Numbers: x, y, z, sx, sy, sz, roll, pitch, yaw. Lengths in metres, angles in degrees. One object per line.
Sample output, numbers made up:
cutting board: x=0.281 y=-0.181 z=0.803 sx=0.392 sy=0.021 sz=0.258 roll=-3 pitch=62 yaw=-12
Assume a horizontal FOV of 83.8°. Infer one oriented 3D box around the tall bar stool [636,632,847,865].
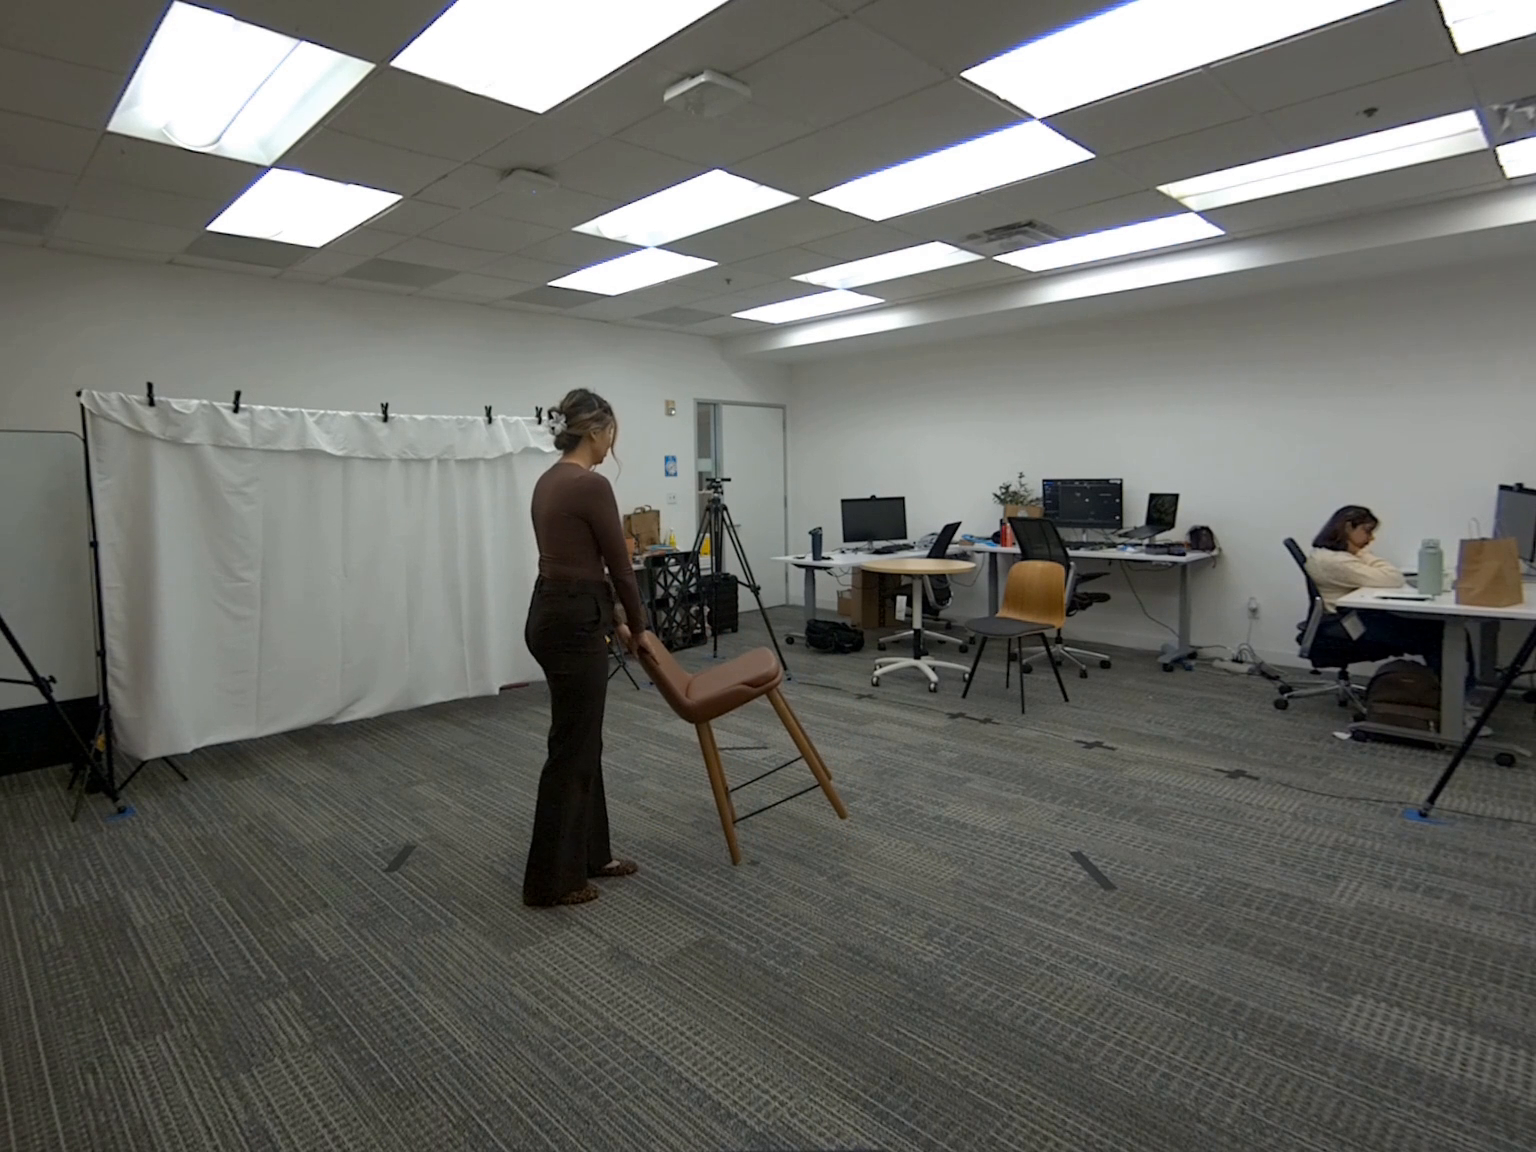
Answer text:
tall bar stool: x=-0.119 y=0.542 z=3.246 sx=0.468 sy=0.886 sz=0.458 roll=-26 pitch=4 yaw=1
